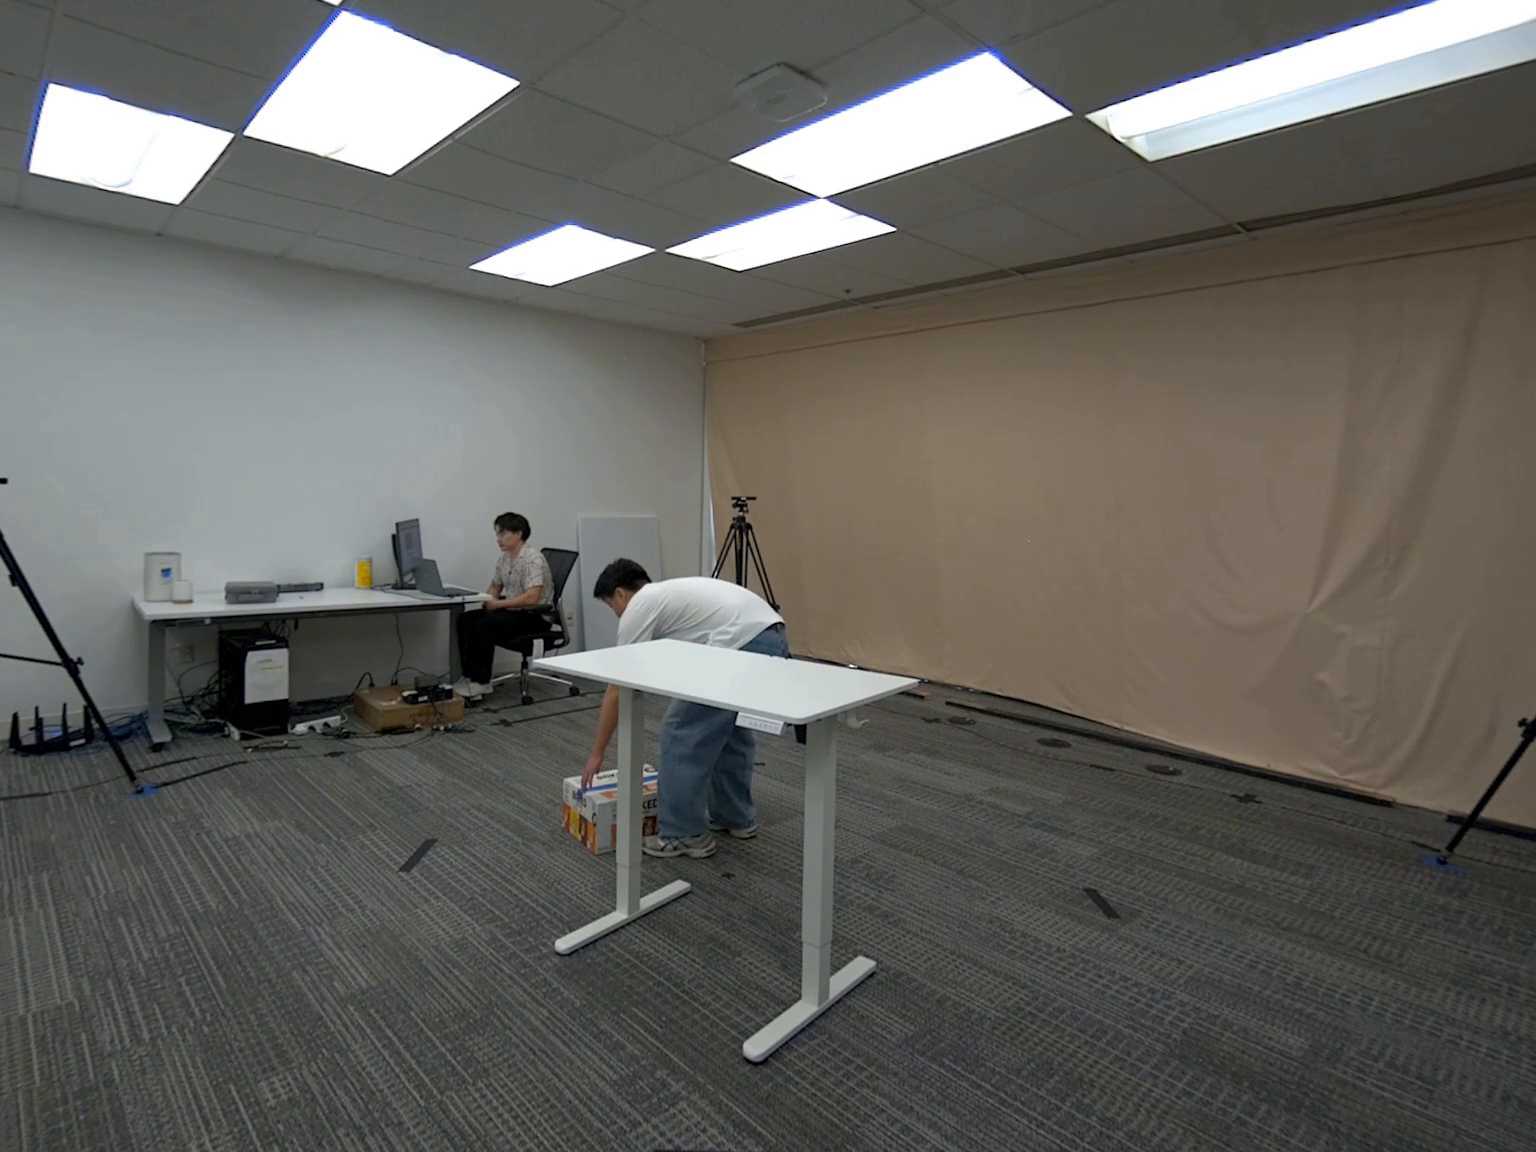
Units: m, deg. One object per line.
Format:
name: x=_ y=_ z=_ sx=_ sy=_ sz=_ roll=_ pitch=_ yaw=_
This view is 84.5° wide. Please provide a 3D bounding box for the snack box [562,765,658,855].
snack box: x=-0.605 y=0.957 z=3.500 sx=0.396 sy=0.205 sz=0.349 roll=-2 pitch=6 yaw=-35
